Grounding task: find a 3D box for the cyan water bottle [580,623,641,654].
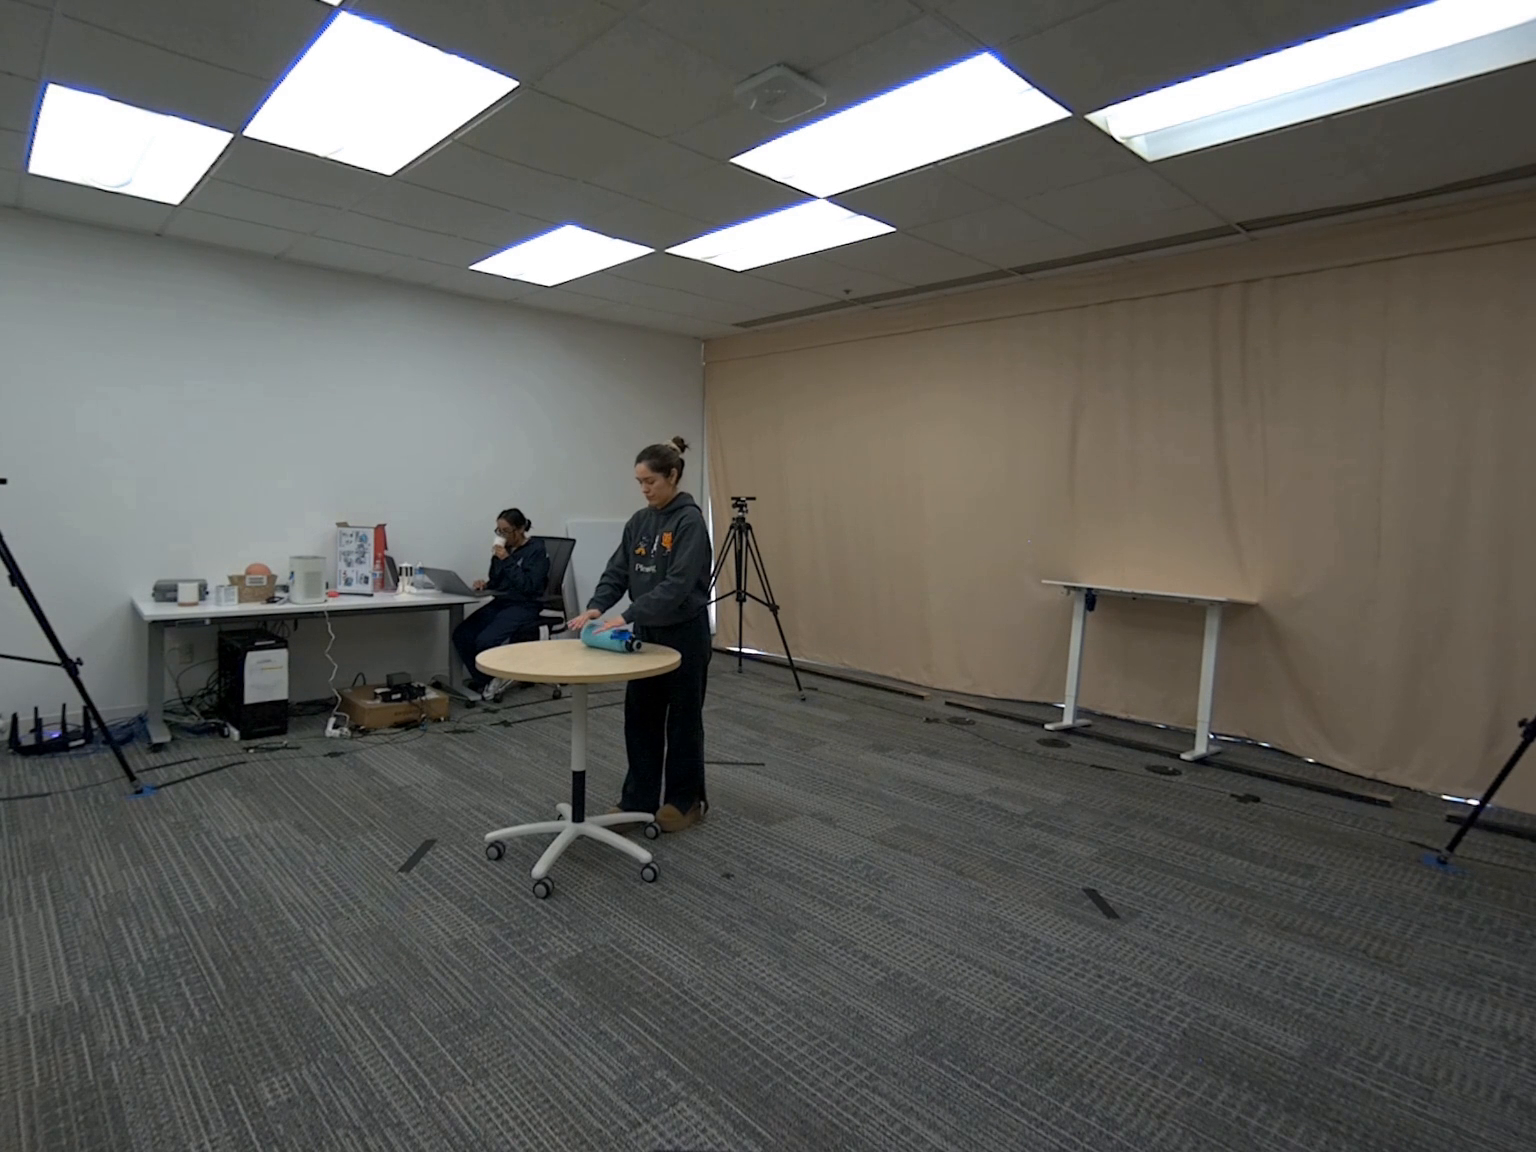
[{"bbox_3d":[-0.629,0.248,3.334,0.290,0.092,0.090,7,7,37],"label":"cyan water bottle"}]
